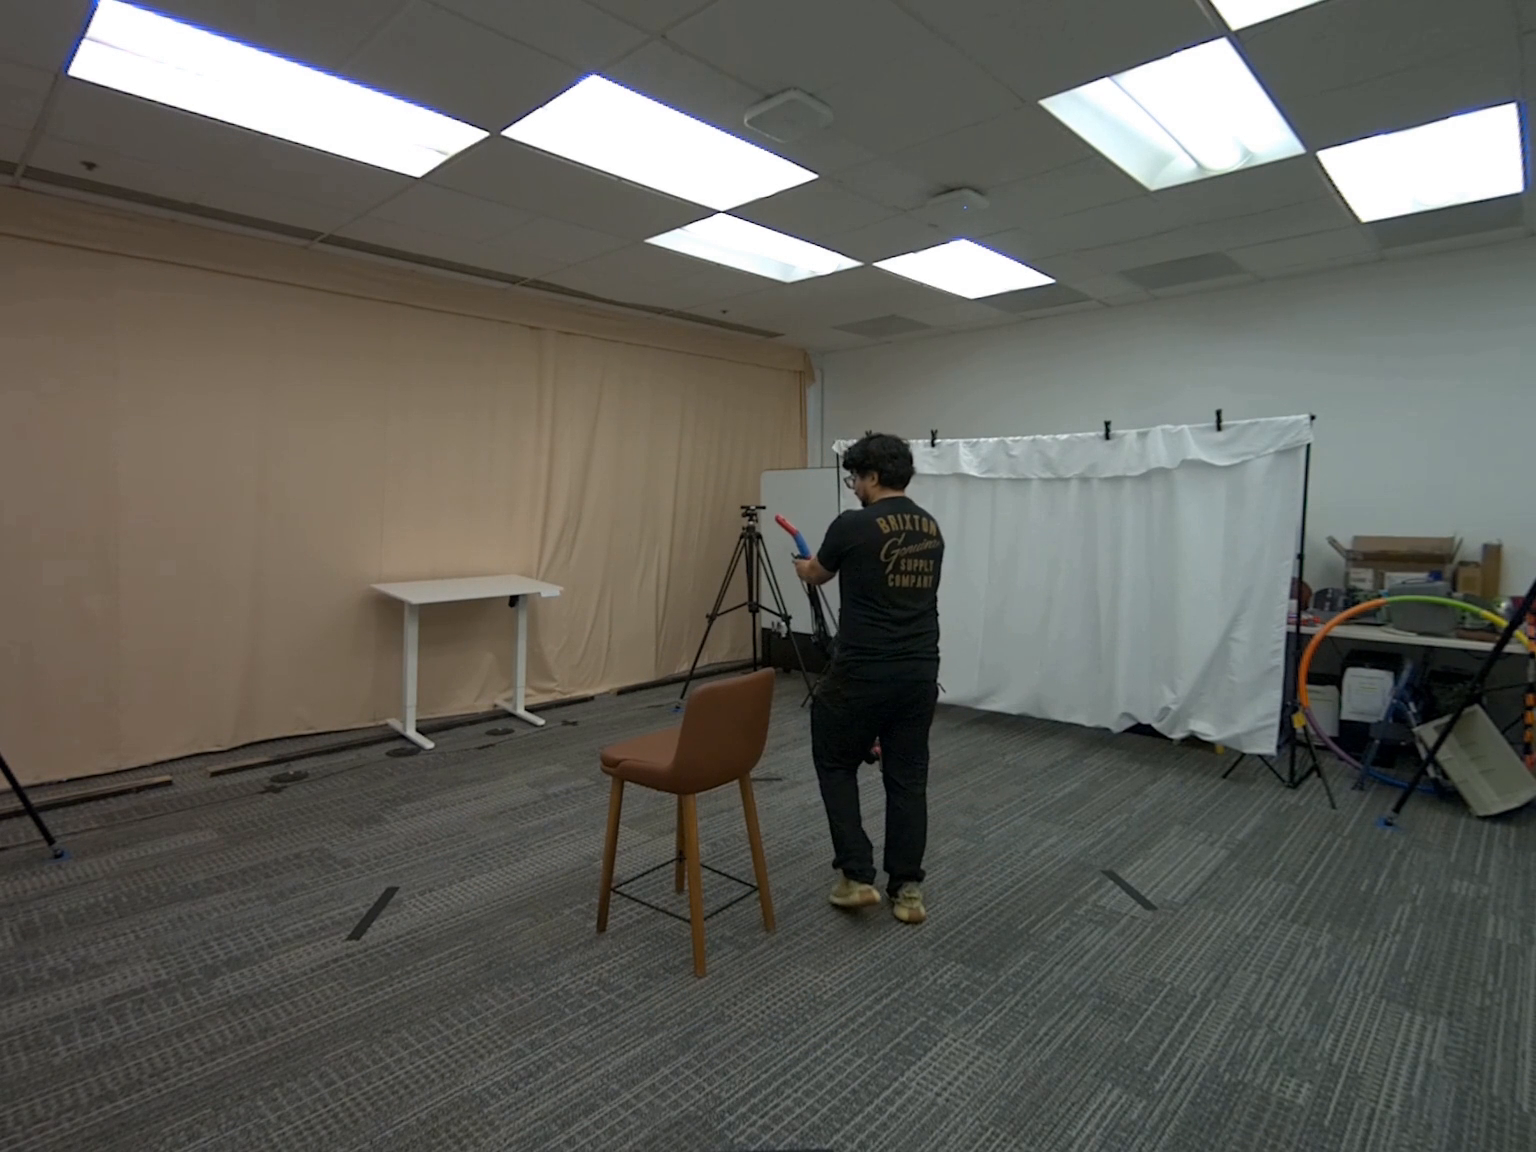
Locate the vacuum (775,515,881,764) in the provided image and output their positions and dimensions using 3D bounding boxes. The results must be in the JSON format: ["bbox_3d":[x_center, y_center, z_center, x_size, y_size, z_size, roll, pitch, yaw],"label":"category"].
[{"bbox_3d":[0.257,0.244,3.351,0.147,1.050,0.247,-24,0,43],"label":"vacuum"}]
